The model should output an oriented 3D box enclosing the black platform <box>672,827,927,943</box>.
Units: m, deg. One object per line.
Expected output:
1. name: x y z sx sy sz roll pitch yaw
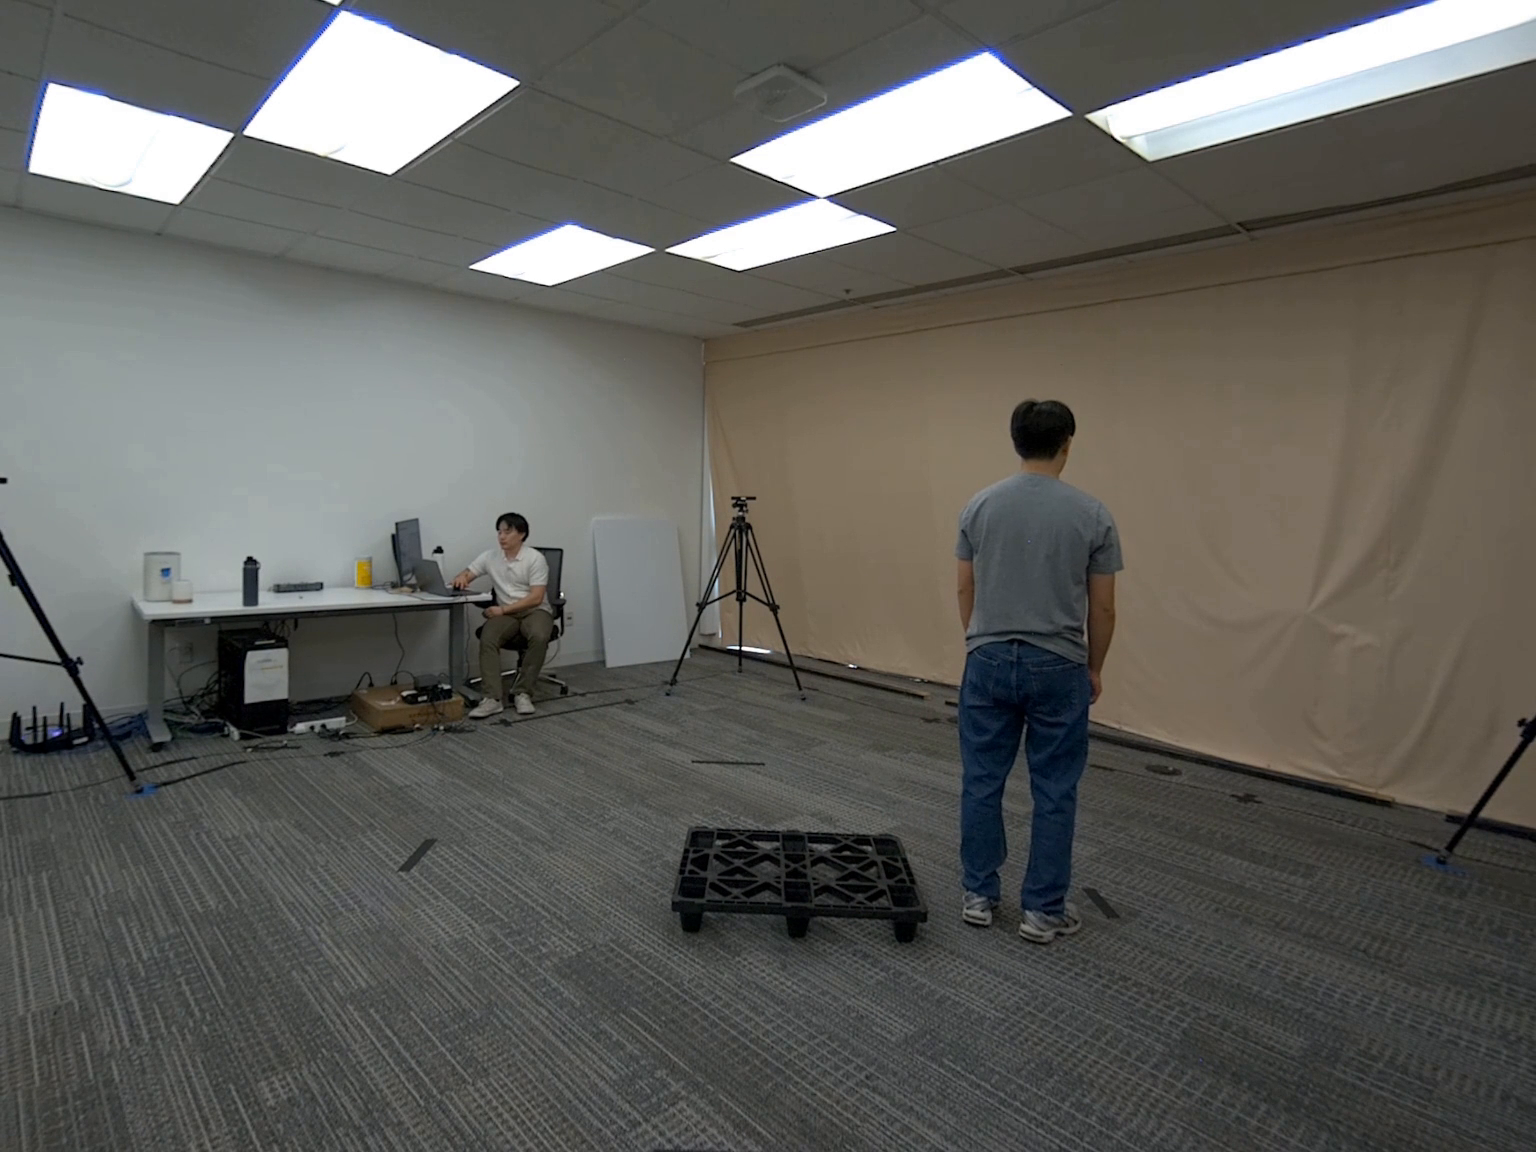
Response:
1. black platform: 0.088 1.058 2.907 0.807 0.143 0.606 2 4 1
